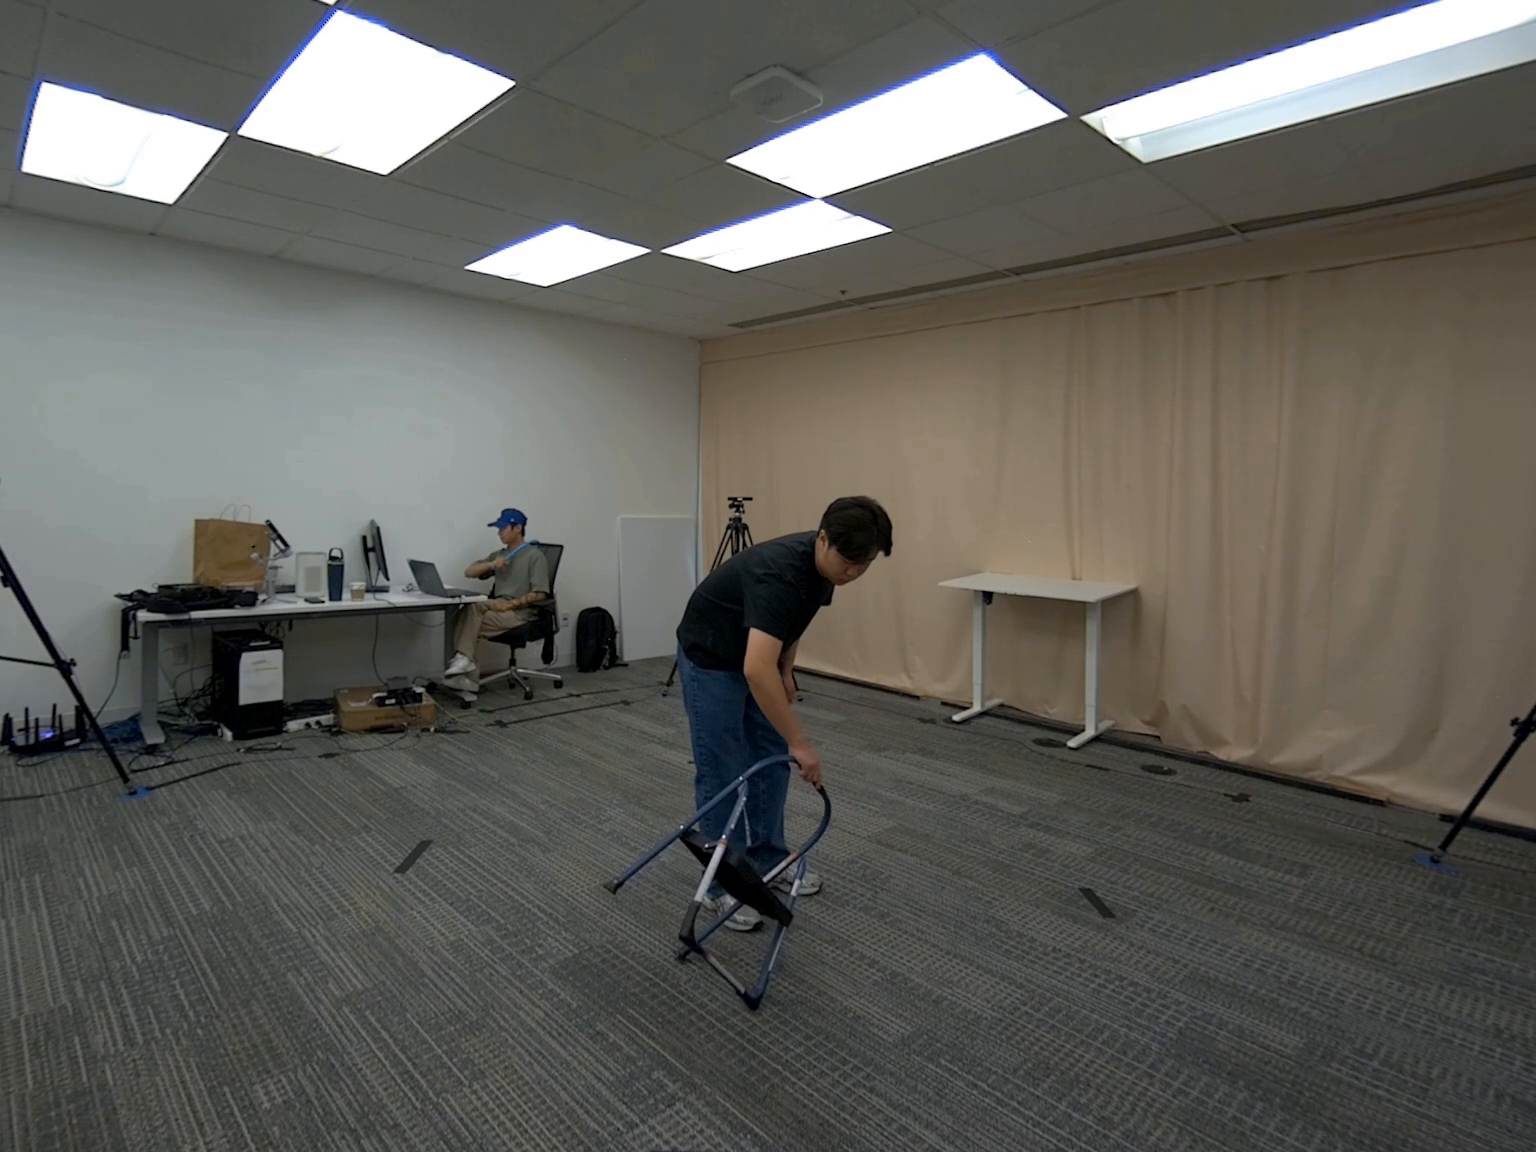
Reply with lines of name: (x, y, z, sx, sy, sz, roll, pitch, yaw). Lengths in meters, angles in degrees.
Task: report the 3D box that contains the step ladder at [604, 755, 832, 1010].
step ladder: (-0.086, 0.815, 2.438, 0.359, 0.418, 0.607, 9, 52, 45)
